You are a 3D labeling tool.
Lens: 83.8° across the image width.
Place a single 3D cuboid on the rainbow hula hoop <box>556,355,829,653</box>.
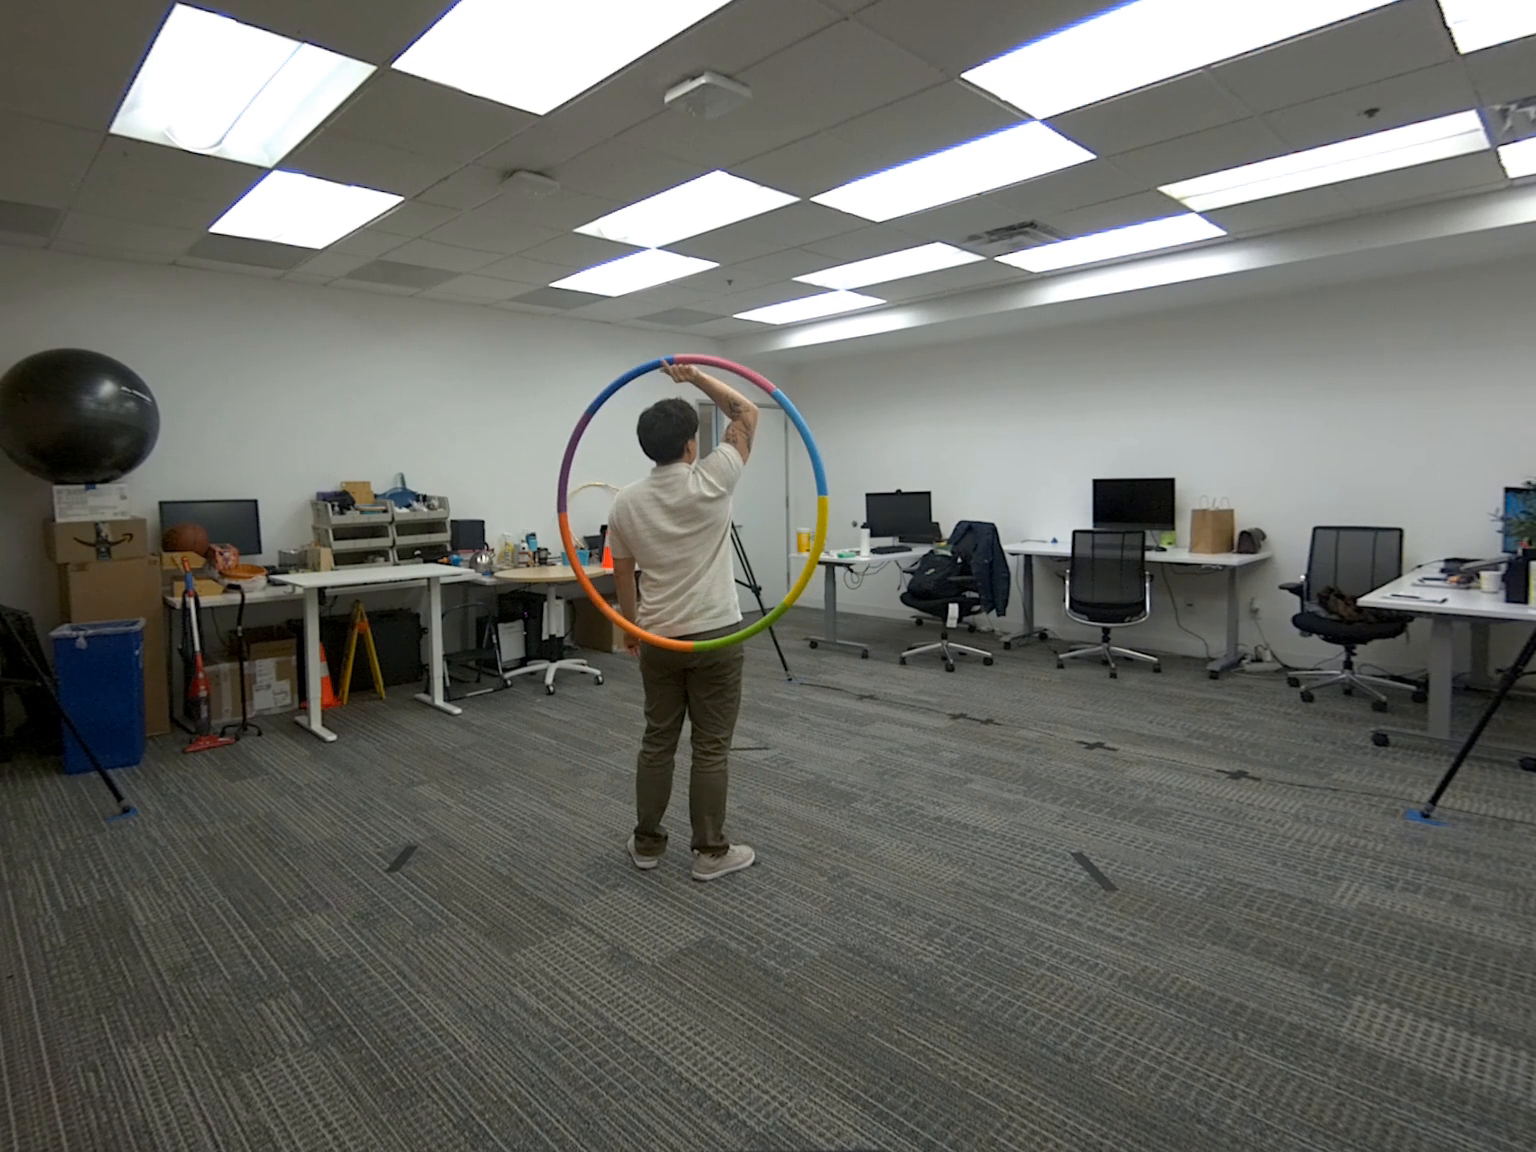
[{"bbox_3d":[-0.282,-0.236,2.856,0.997,0.976,0.035,1,3,20],"label":"rainbow hula hoop"}]
